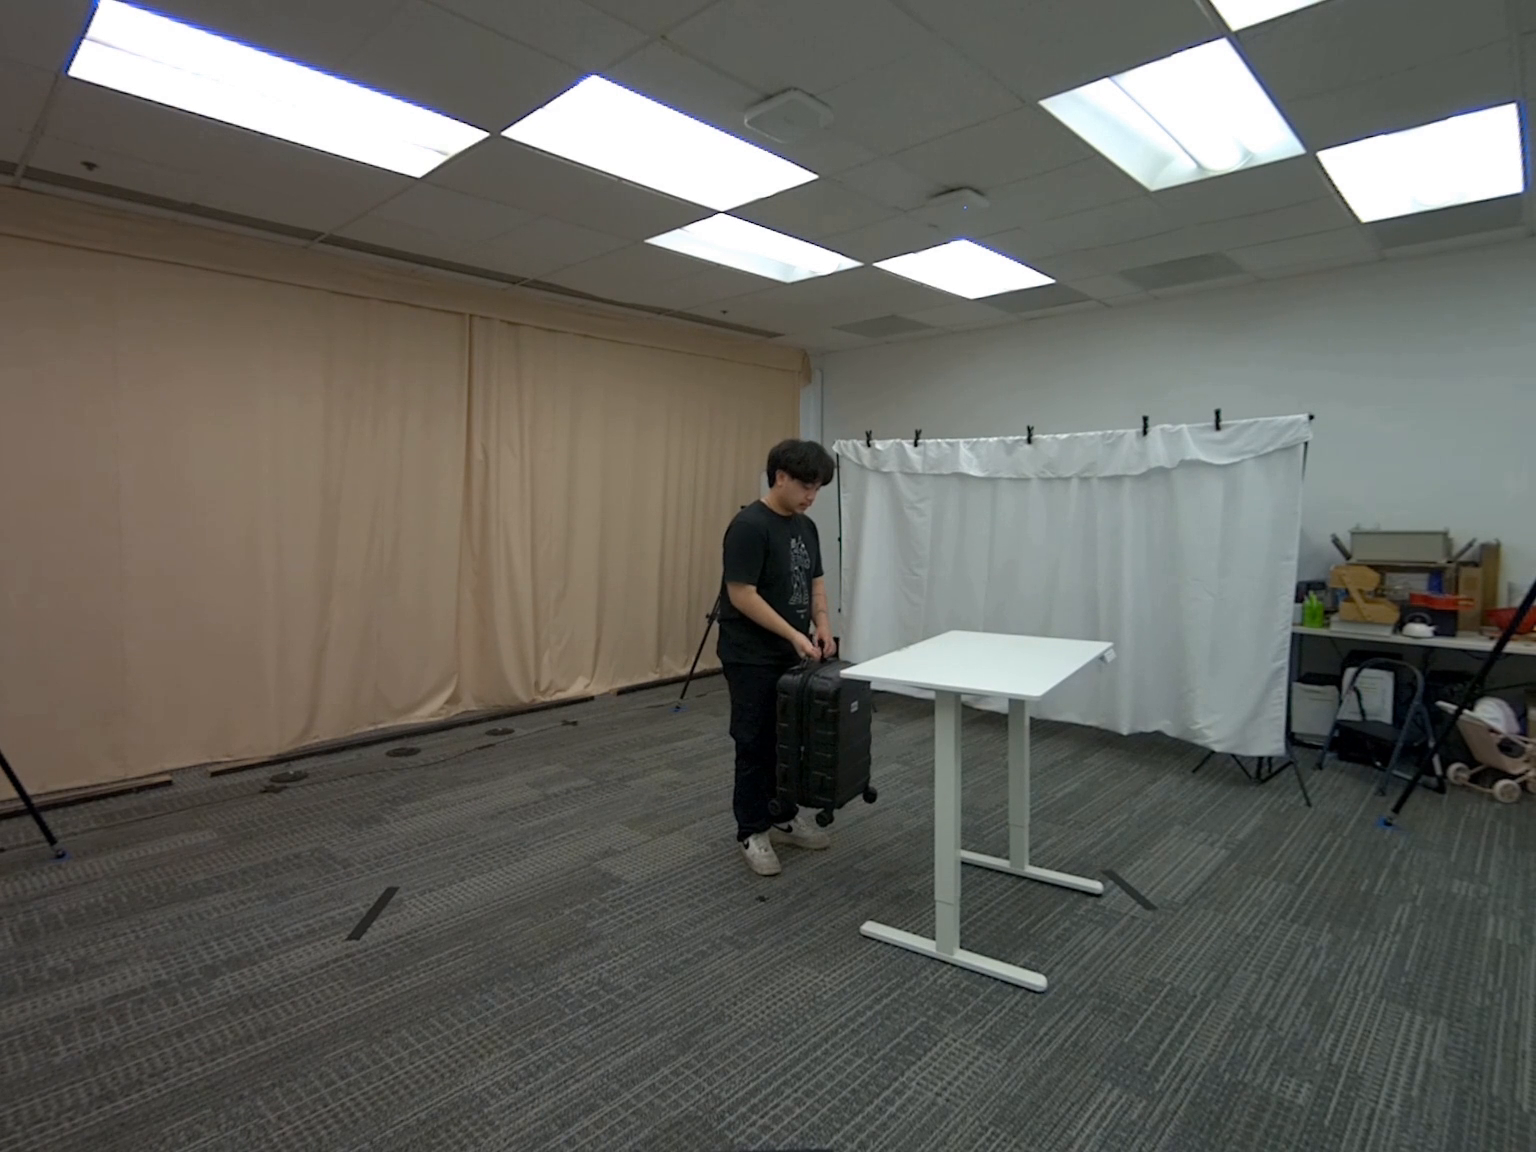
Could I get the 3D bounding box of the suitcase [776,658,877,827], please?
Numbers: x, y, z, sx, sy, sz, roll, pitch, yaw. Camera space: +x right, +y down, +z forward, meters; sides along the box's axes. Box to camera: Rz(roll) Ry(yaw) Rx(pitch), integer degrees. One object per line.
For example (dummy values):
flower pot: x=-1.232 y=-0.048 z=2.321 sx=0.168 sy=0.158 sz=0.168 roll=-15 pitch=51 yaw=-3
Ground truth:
suitcase: x=0.210 y=0.598 z=3.124 sx=0.256 sy=0.547 sz=0.365 roll=4 pitch=8 yaw=33
